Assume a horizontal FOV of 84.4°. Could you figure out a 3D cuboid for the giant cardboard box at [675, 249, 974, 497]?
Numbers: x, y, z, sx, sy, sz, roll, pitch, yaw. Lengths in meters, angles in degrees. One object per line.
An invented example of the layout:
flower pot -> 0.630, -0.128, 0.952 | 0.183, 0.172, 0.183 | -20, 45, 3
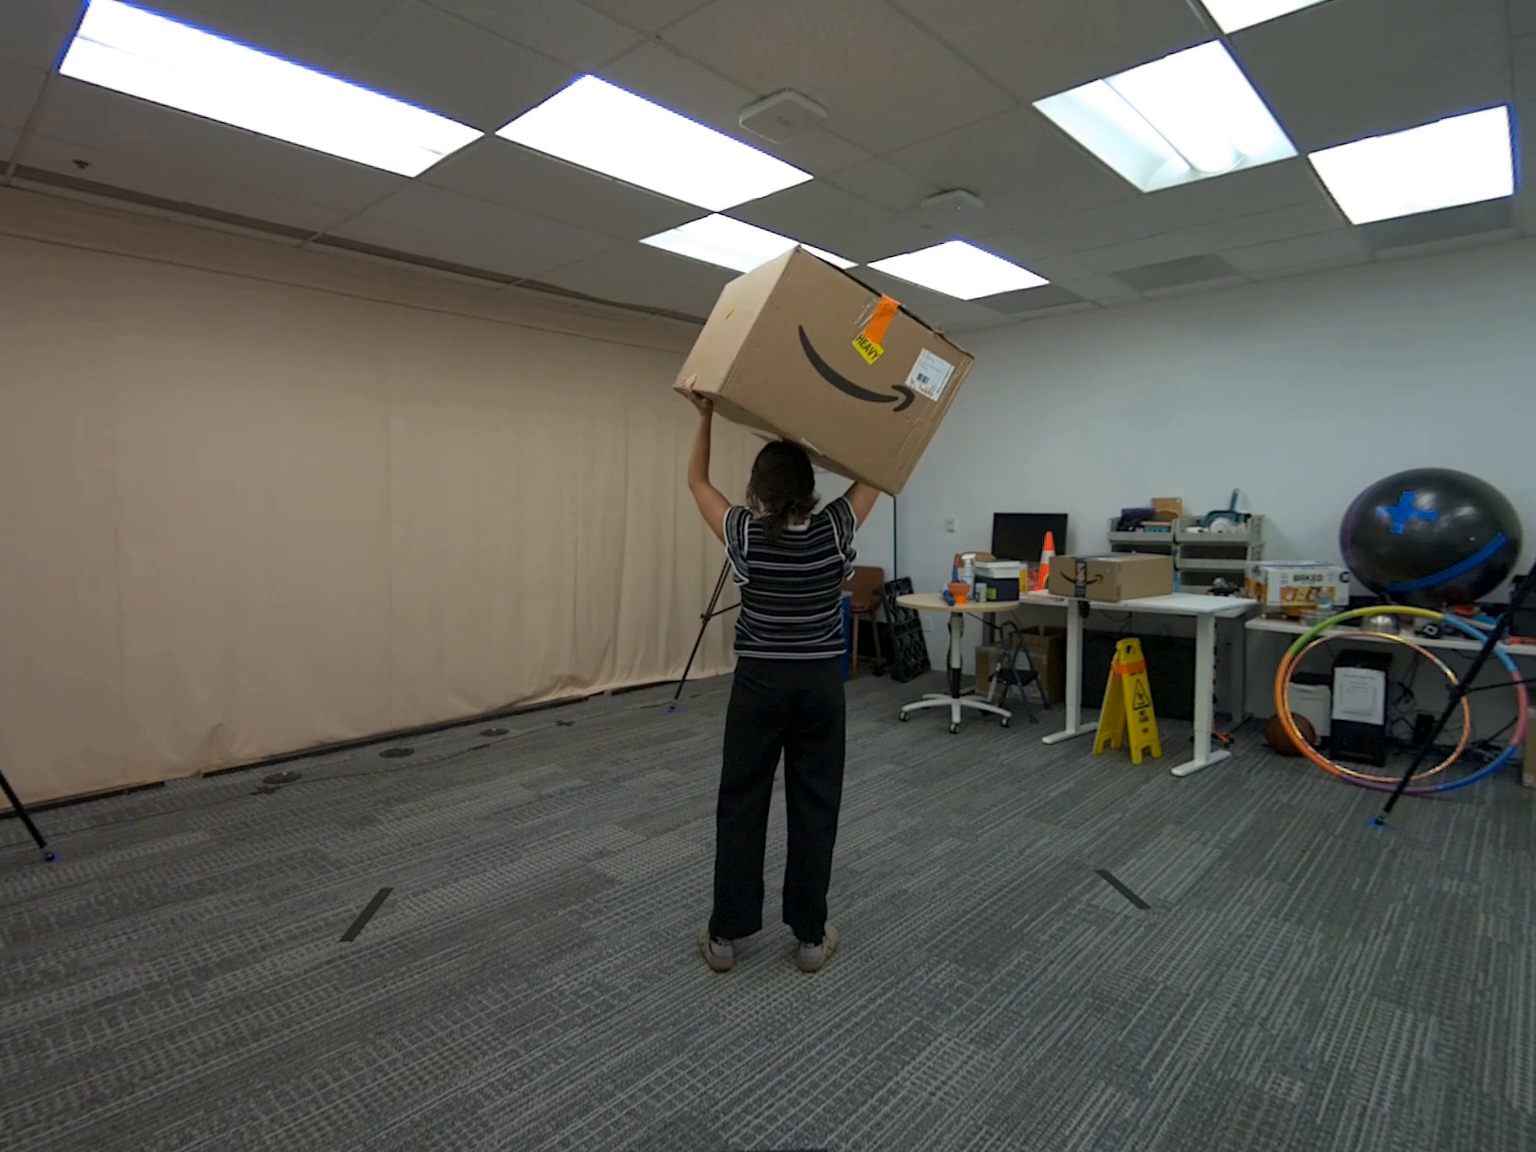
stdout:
giant cardboard box -> 0.105, -0.631, 2.667 | 0.567, 0.426, 1.045 | 27, 6, -17
